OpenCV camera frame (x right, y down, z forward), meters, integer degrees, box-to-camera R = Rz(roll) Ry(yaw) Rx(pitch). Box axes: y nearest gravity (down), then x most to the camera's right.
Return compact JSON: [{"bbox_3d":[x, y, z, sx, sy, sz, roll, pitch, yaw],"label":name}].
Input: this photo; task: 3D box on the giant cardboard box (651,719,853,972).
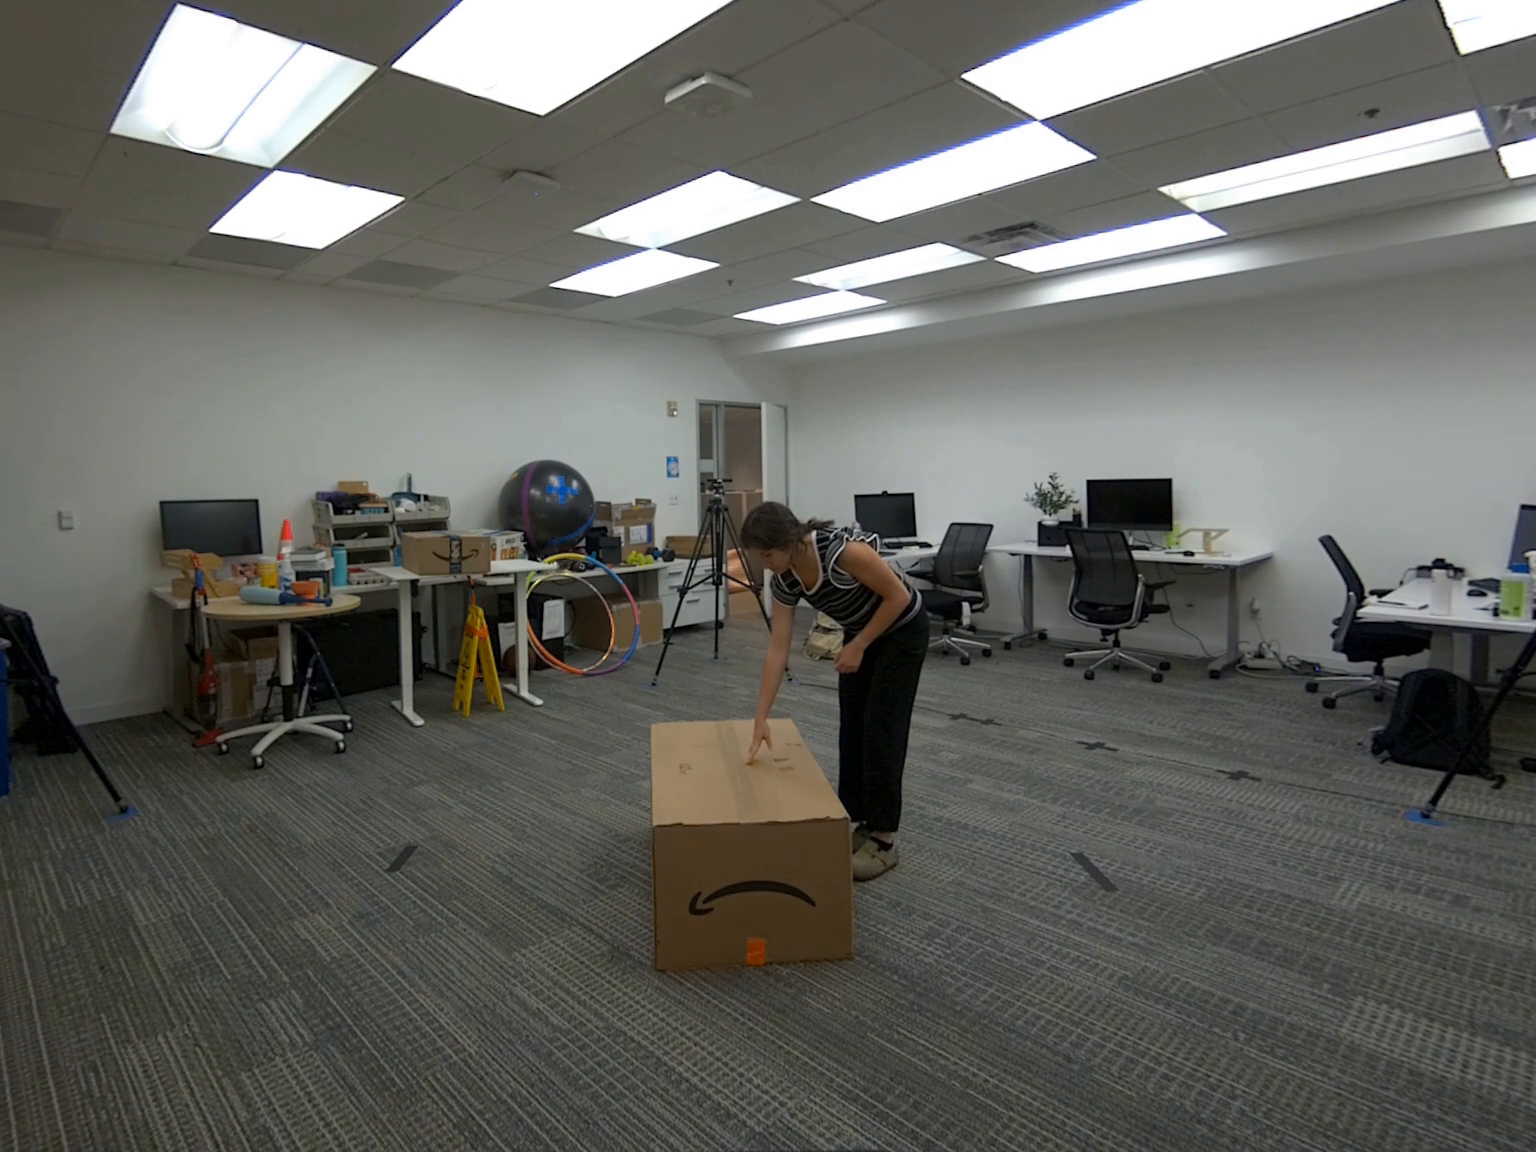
[{"bbox_3d":[-0.114,0.854,2.947,0.574,0.424,1.037,-1,6,-7],"label":"giant cardboard box"}]
